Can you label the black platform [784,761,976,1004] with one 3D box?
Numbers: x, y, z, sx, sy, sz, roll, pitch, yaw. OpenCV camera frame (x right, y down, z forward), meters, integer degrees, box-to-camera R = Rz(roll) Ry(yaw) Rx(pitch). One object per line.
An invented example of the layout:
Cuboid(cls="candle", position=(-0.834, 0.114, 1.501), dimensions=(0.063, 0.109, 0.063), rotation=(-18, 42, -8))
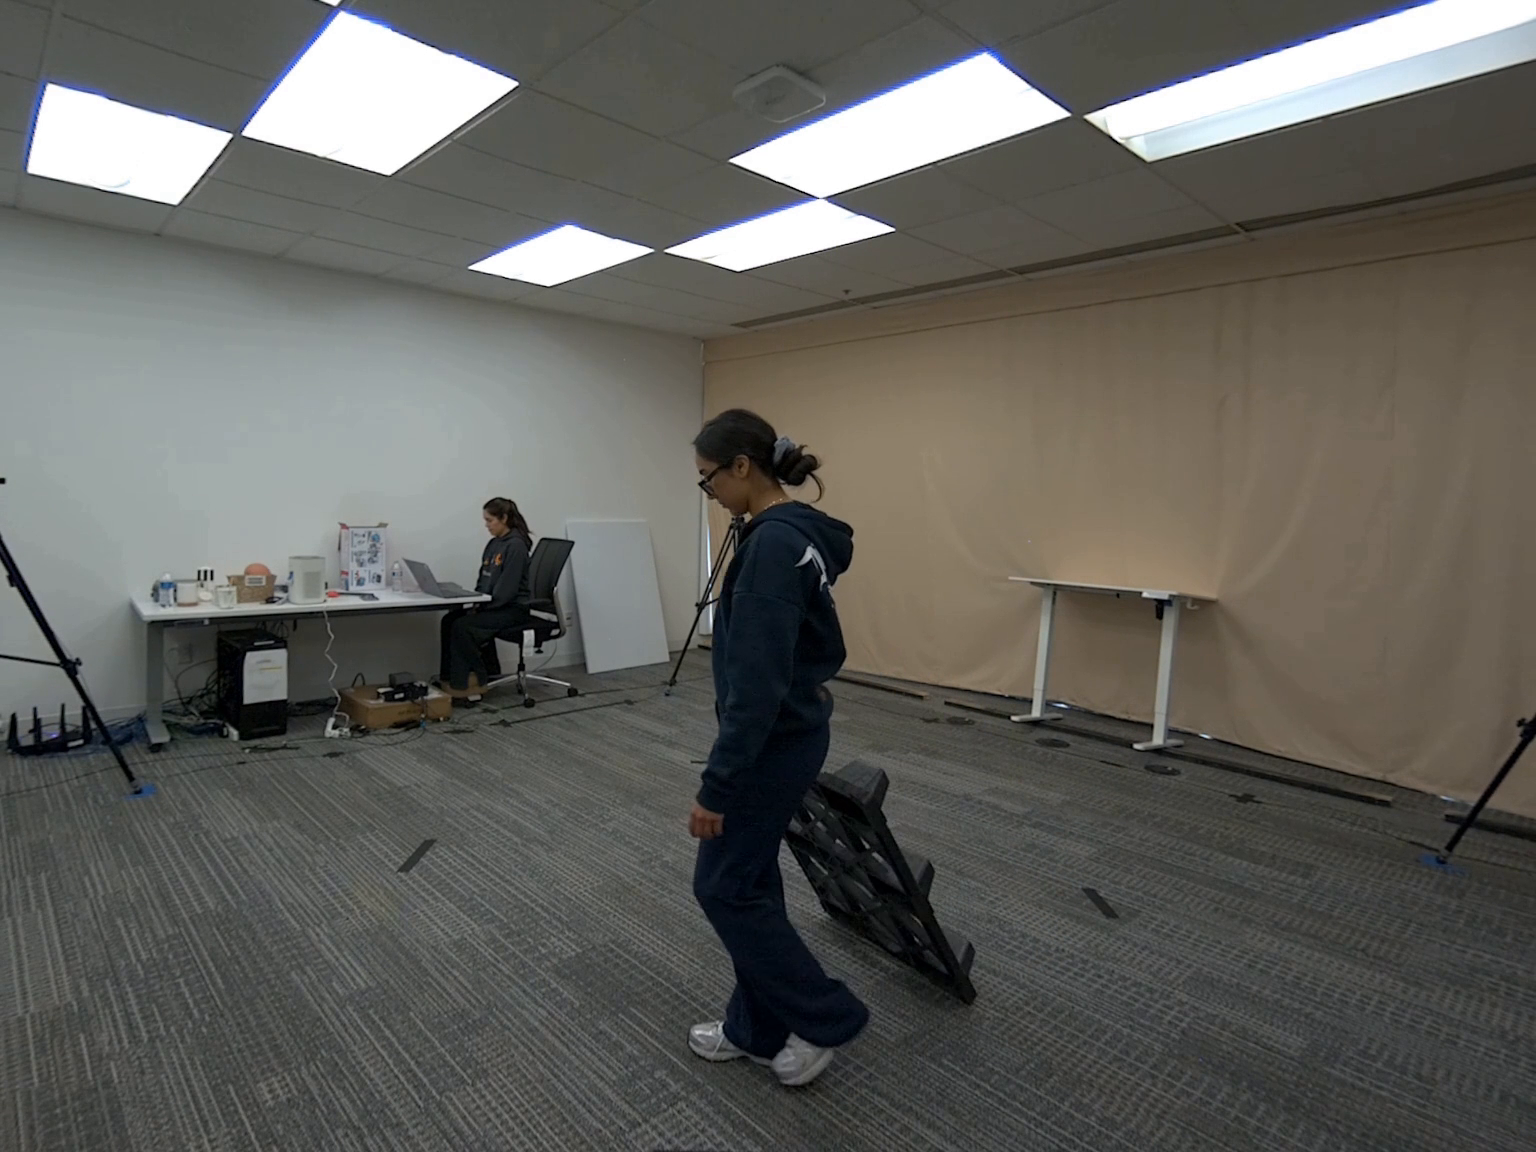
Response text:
Cuboid(cls="black platform", position=(0.260, 0.809, 2.459), dimensions=(0.143, 0.789, 0.620), rotation=(-38, 25, -27))
